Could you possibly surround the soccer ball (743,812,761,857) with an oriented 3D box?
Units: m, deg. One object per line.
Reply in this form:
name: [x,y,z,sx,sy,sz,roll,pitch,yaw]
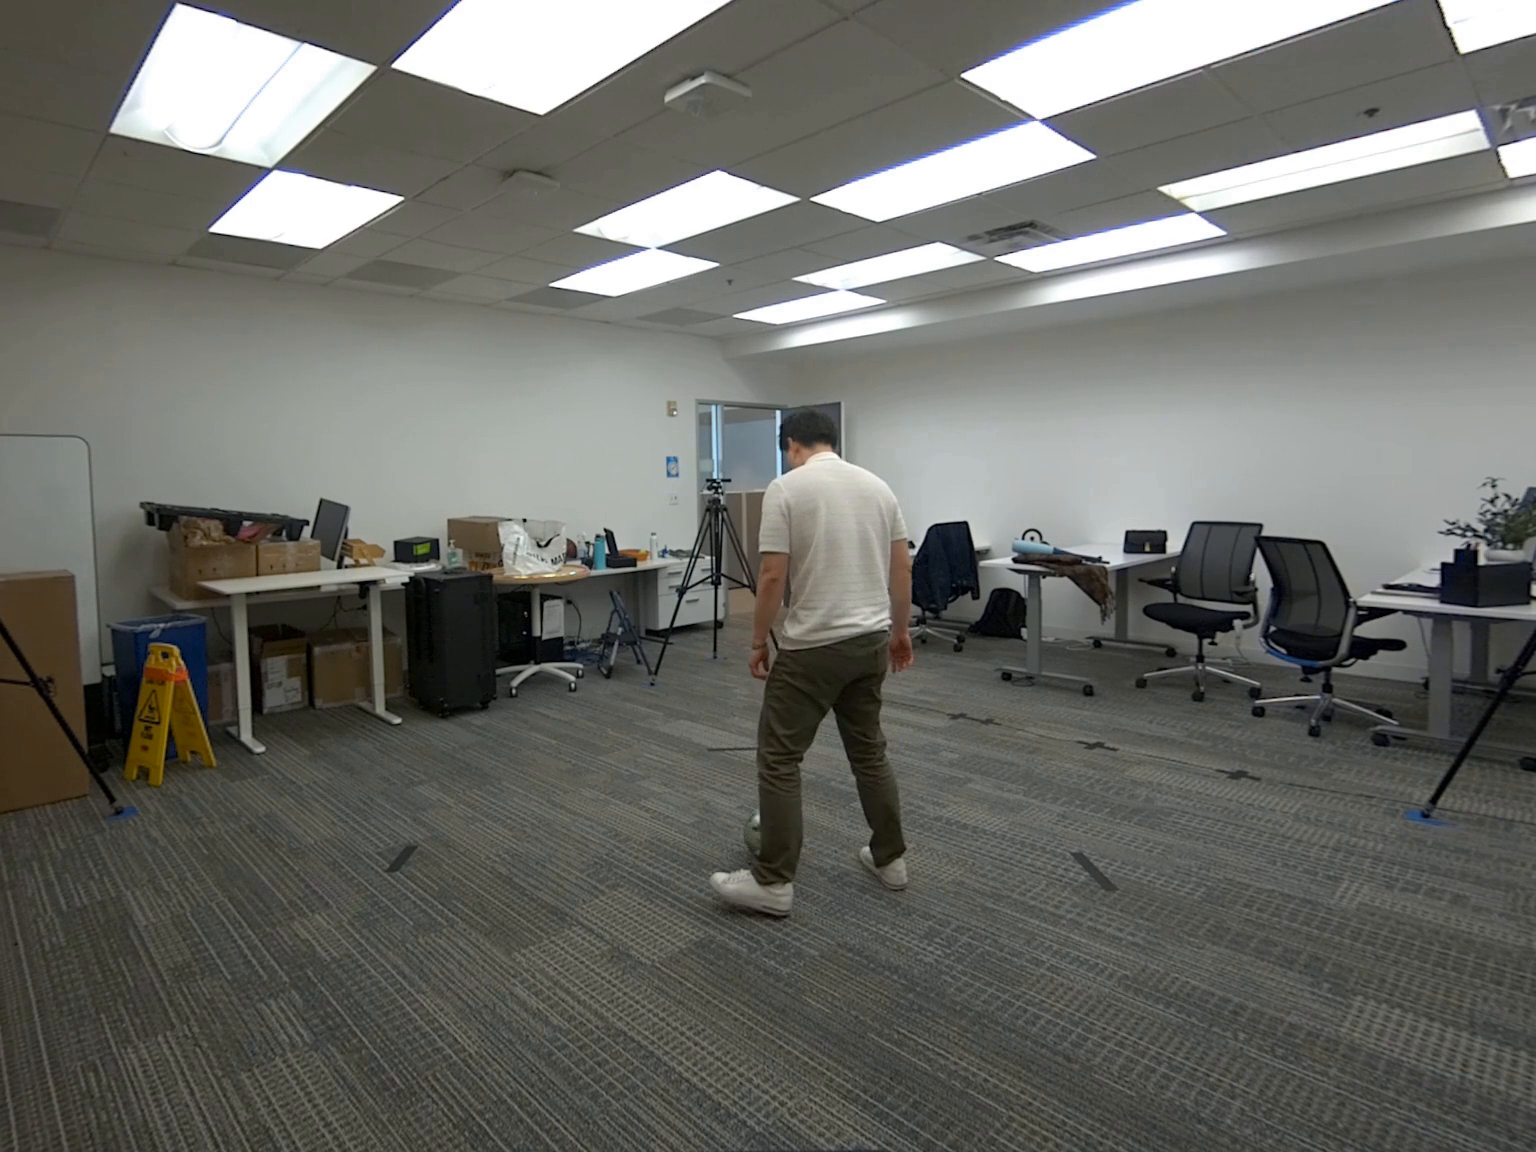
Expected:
soccer ball: [0.007,0.945,3.139,0.187,0.187,0.188,-1,5,-2]
